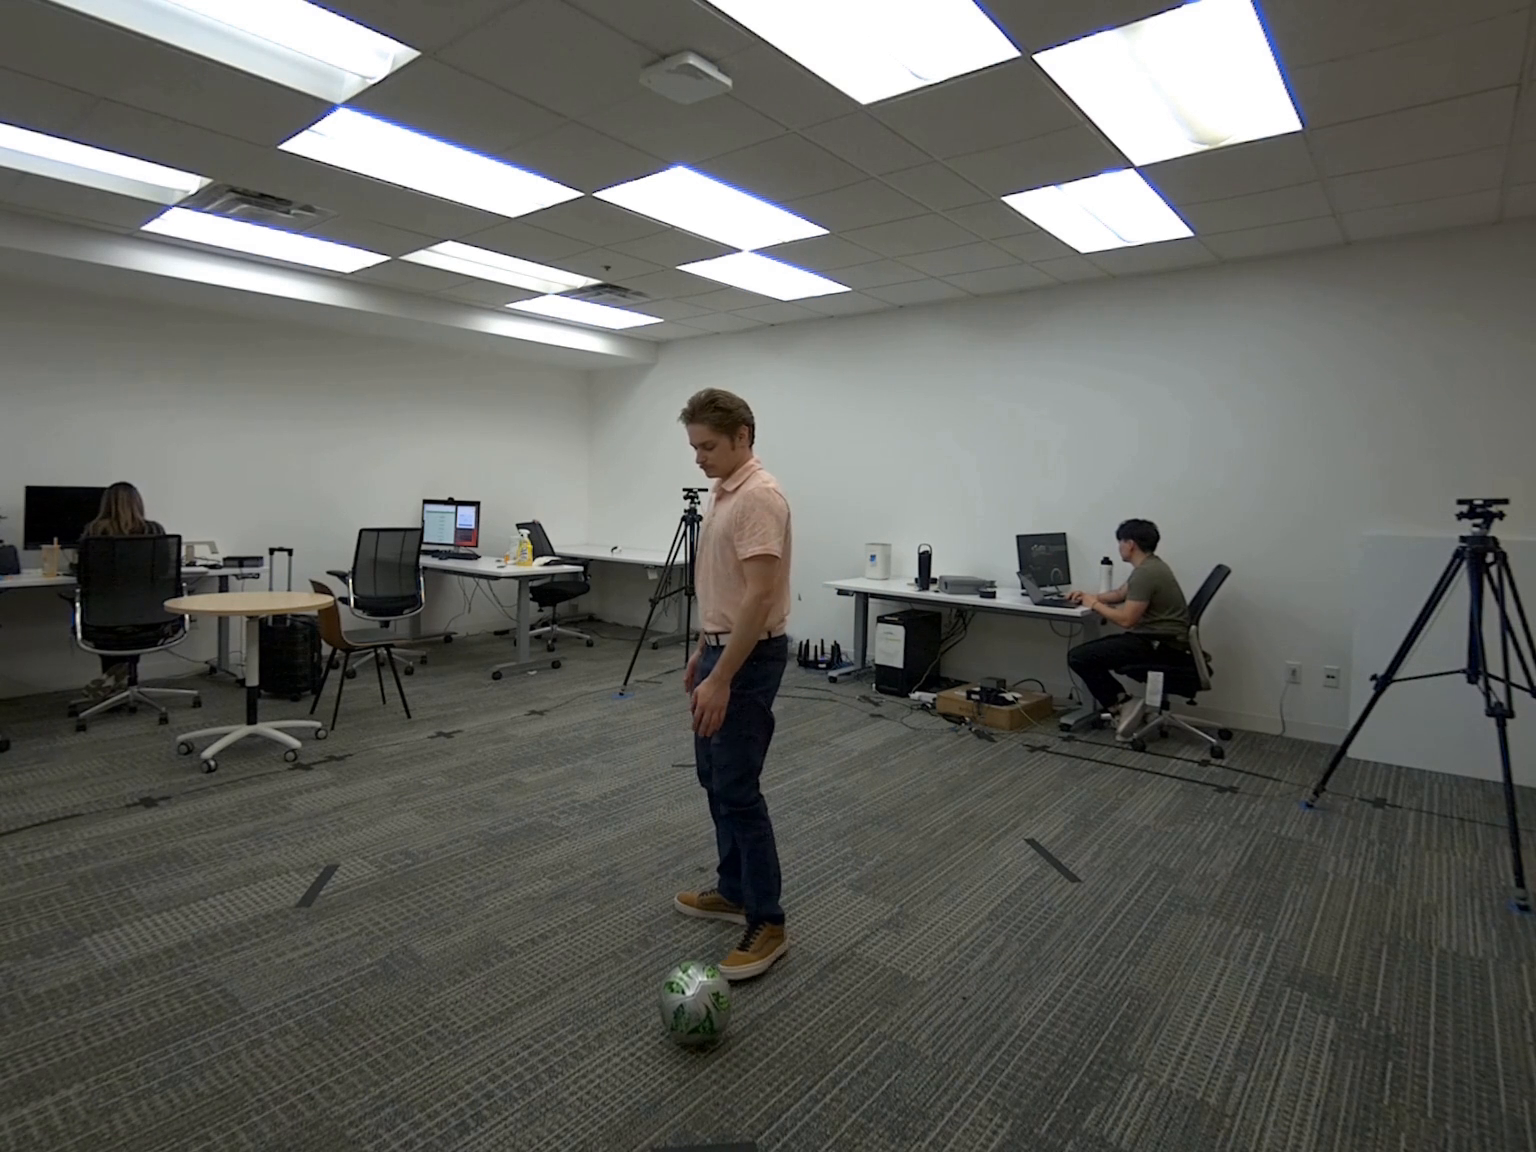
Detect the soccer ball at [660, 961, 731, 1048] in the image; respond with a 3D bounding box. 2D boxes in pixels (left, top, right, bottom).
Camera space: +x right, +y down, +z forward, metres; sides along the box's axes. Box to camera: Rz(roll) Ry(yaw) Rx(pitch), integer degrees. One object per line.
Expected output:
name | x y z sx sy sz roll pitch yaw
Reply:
soccer ball | -0.188 1.079 2.148 0.187 0.187 0.188 1 4 -2
